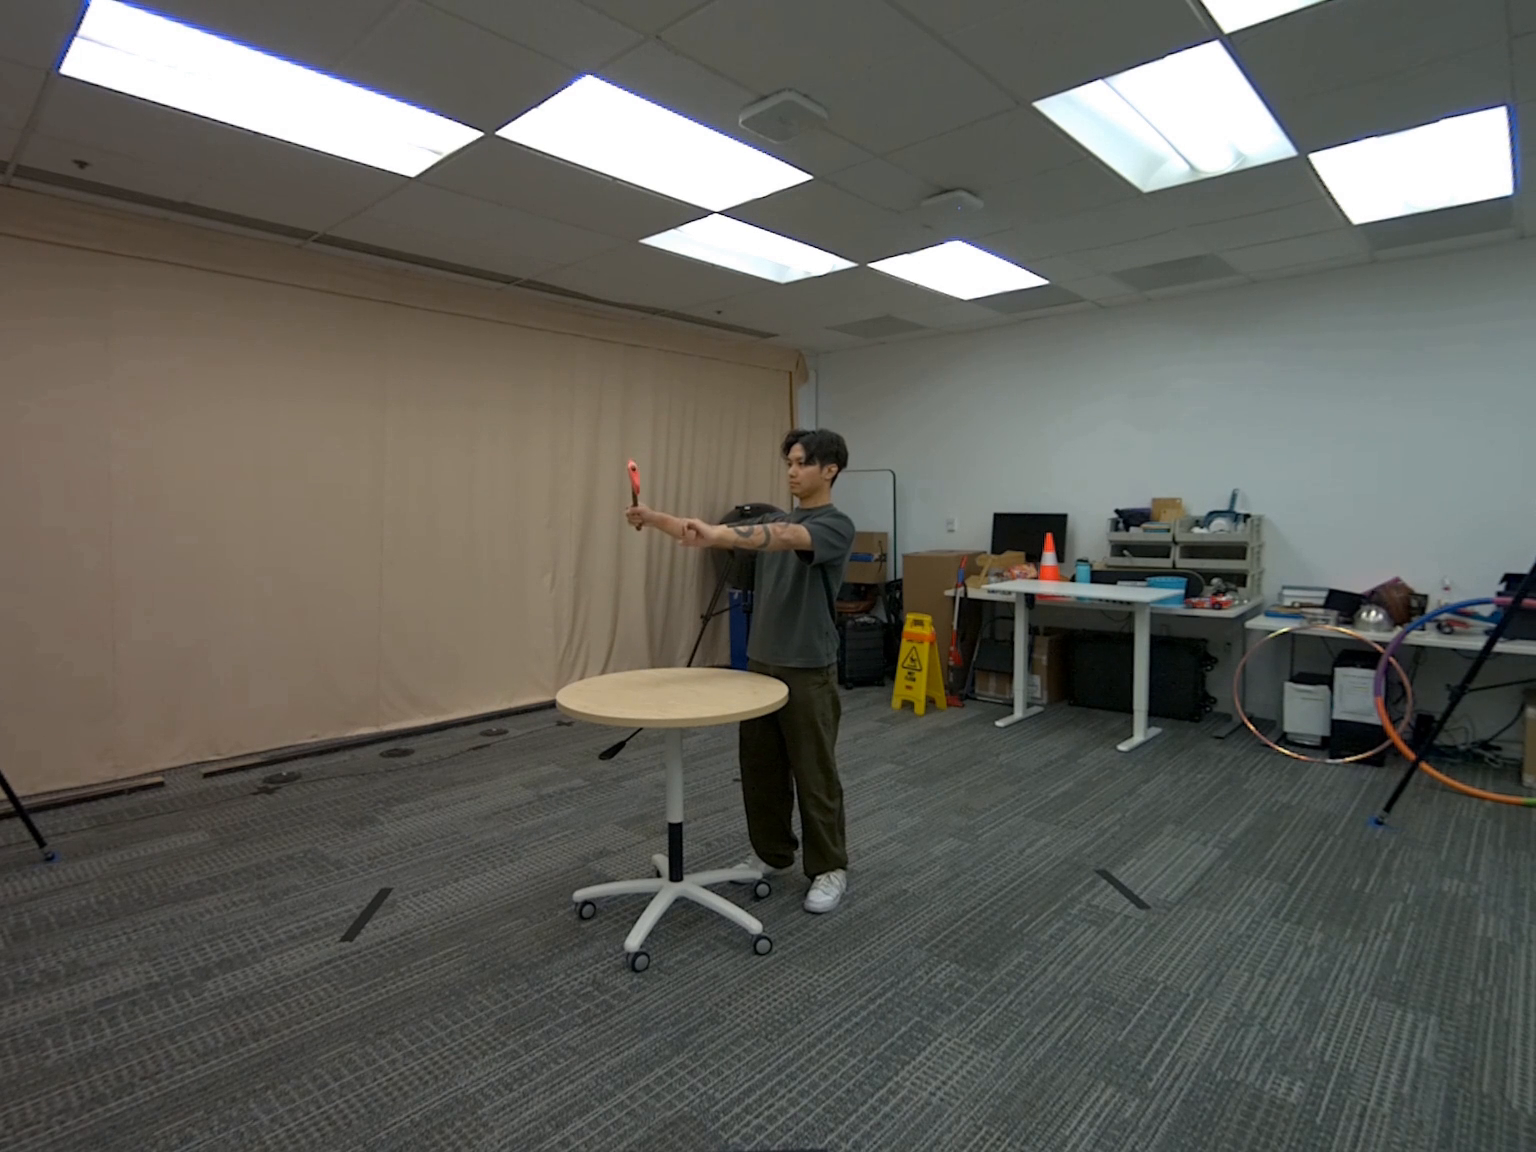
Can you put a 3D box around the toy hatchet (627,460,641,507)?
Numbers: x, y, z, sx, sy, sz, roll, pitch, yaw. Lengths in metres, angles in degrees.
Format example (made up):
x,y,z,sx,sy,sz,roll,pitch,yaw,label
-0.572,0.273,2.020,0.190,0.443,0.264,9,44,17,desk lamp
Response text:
x,y,z,sx,sy,sz,roll,pitch,yaw,label
-0.444,-0.252,2.889,0.029,0.266,0.135,-8,32,-18,toy hatchet
